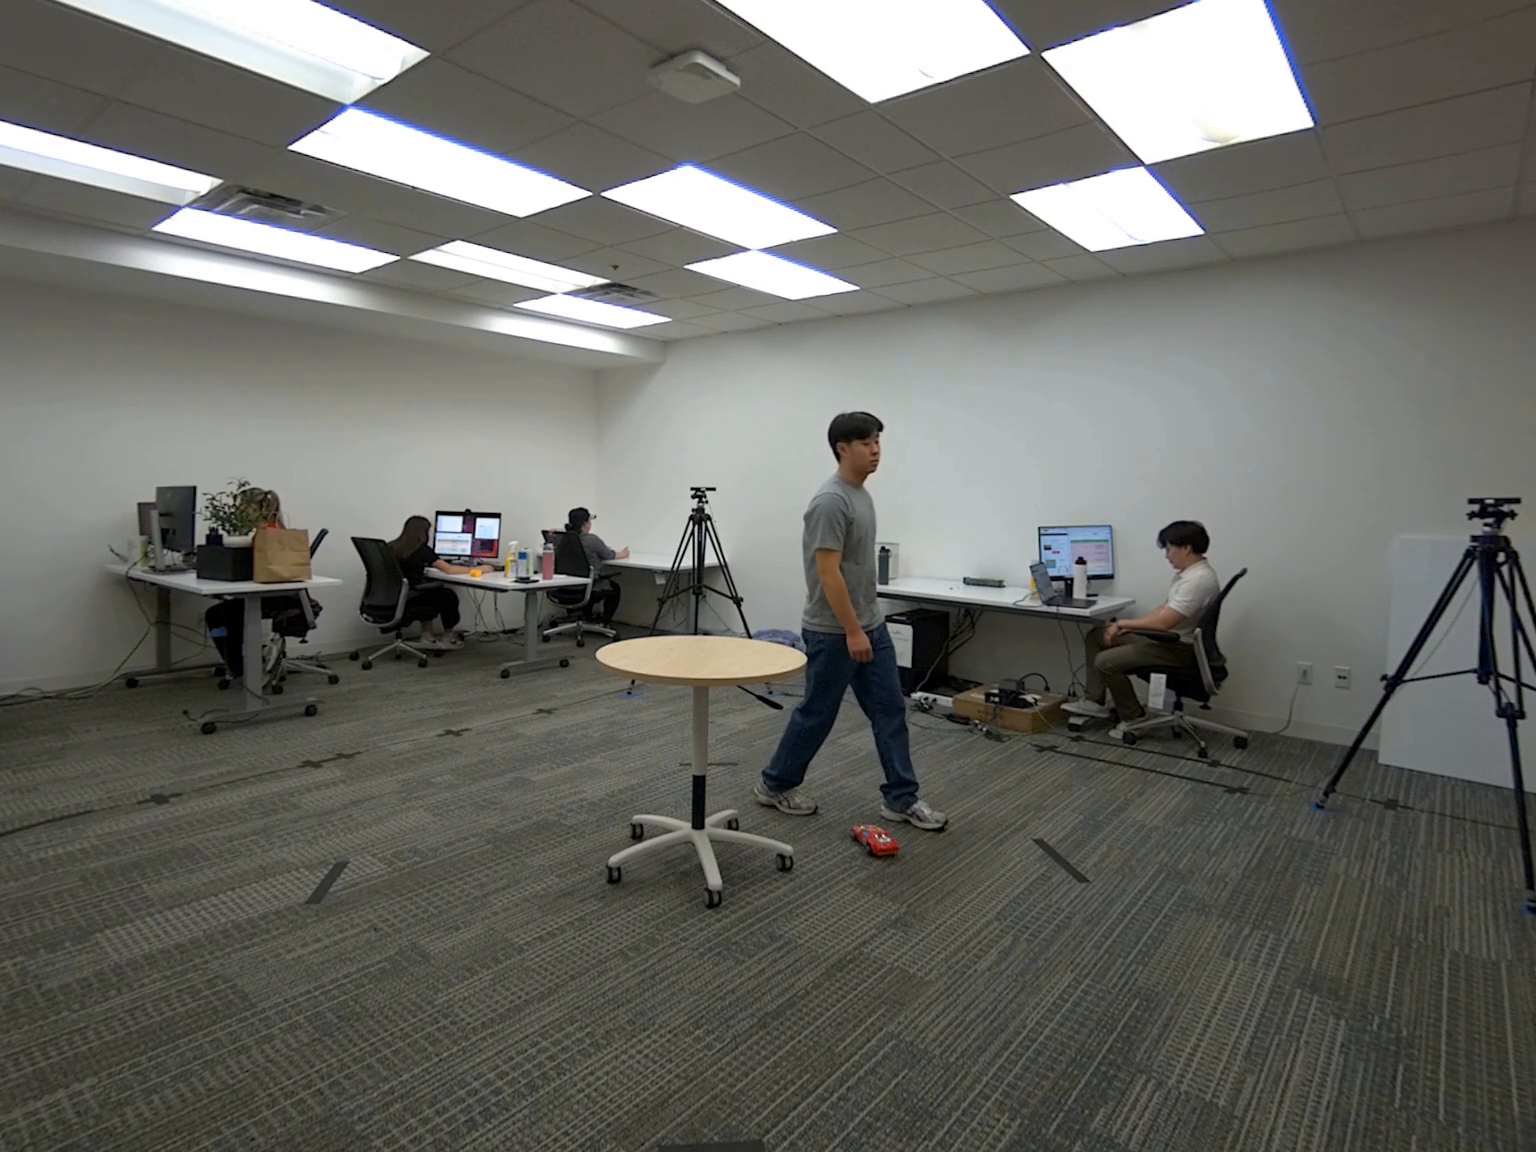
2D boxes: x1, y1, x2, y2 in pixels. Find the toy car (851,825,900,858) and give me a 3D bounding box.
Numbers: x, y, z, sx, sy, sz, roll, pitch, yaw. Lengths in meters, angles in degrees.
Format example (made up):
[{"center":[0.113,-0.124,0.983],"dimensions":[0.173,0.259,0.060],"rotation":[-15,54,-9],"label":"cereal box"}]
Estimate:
[{"center":[0.417,1.029,3.316],"dimensions":[0.128,0.084,0.257],"rotation":[0,-5,-18],"label":"toy car"}]
